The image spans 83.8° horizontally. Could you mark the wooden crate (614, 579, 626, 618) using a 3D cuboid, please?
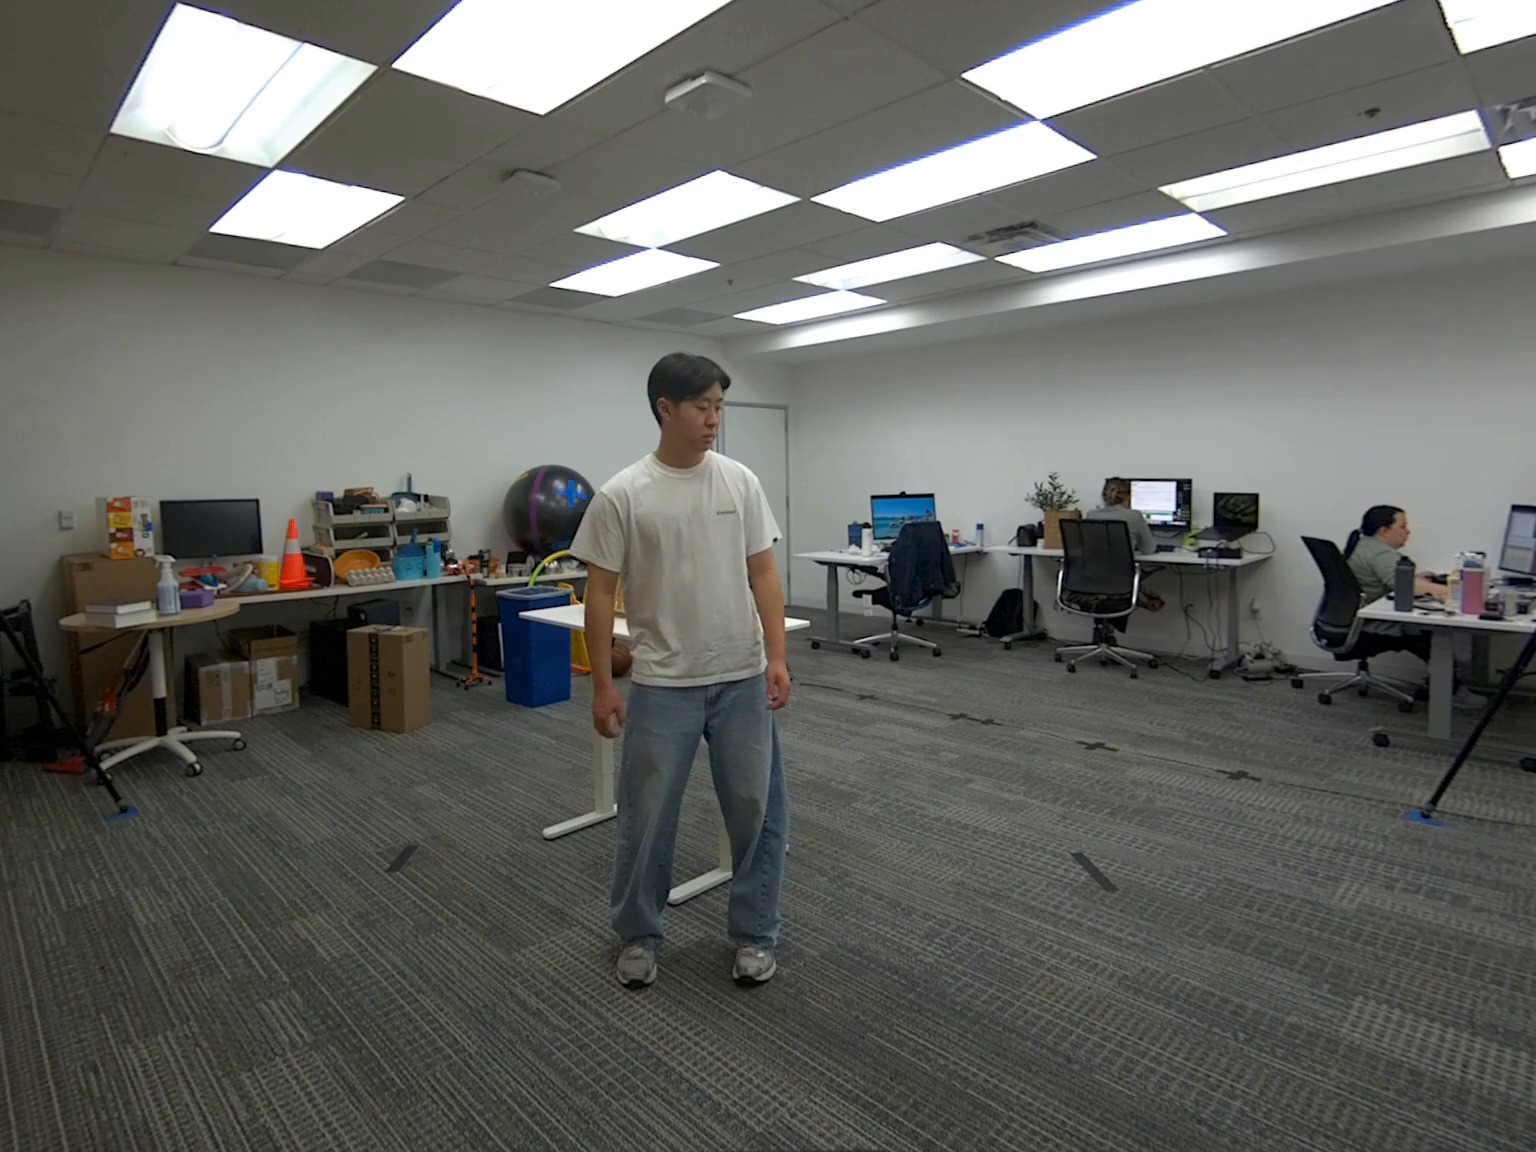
[{"bbox_3d":[-0.519,0.005,3.395,0.264,0.303,0.334,16,-7,-40],"label":"wooden crate"}]
